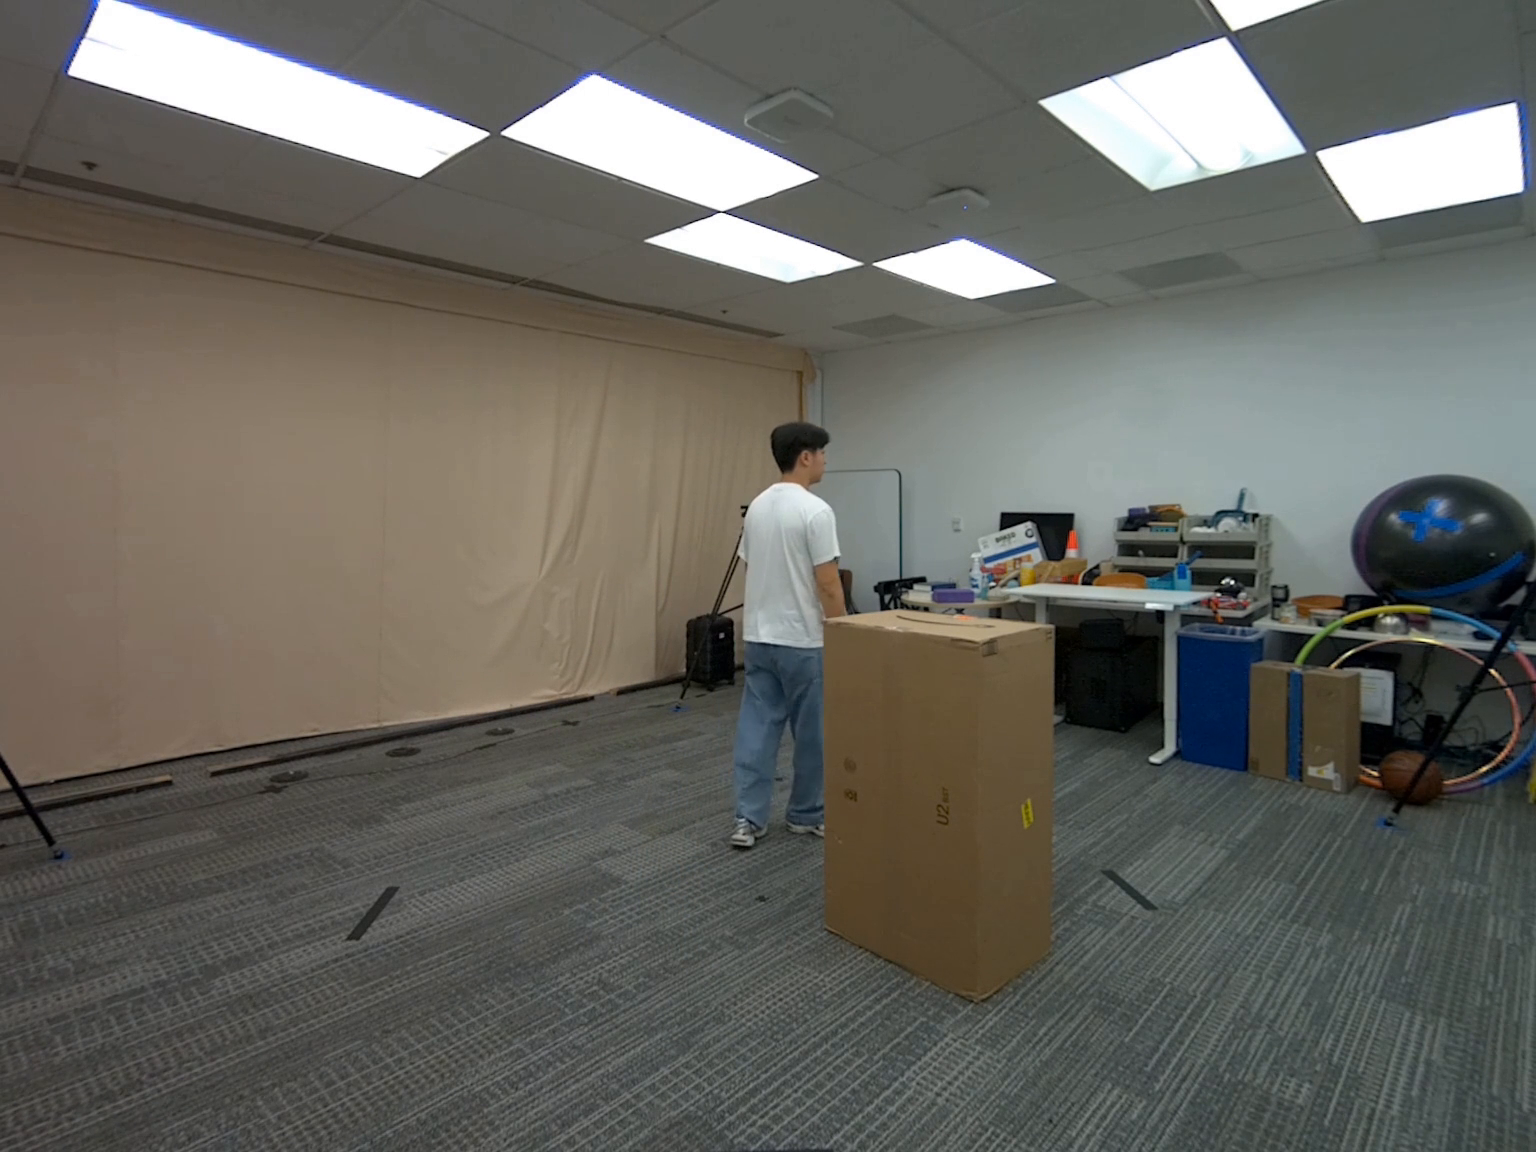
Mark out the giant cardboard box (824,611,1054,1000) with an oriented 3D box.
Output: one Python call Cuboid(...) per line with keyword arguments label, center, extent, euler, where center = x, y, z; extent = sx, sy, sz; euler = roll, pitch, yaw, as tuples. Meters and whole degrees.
Cuboid(label="giant cardboard box", center=(0.539, 0.658, 2.677), extent=(0.413, 1.024, 0.597), euler=(-3, 4, -43))
